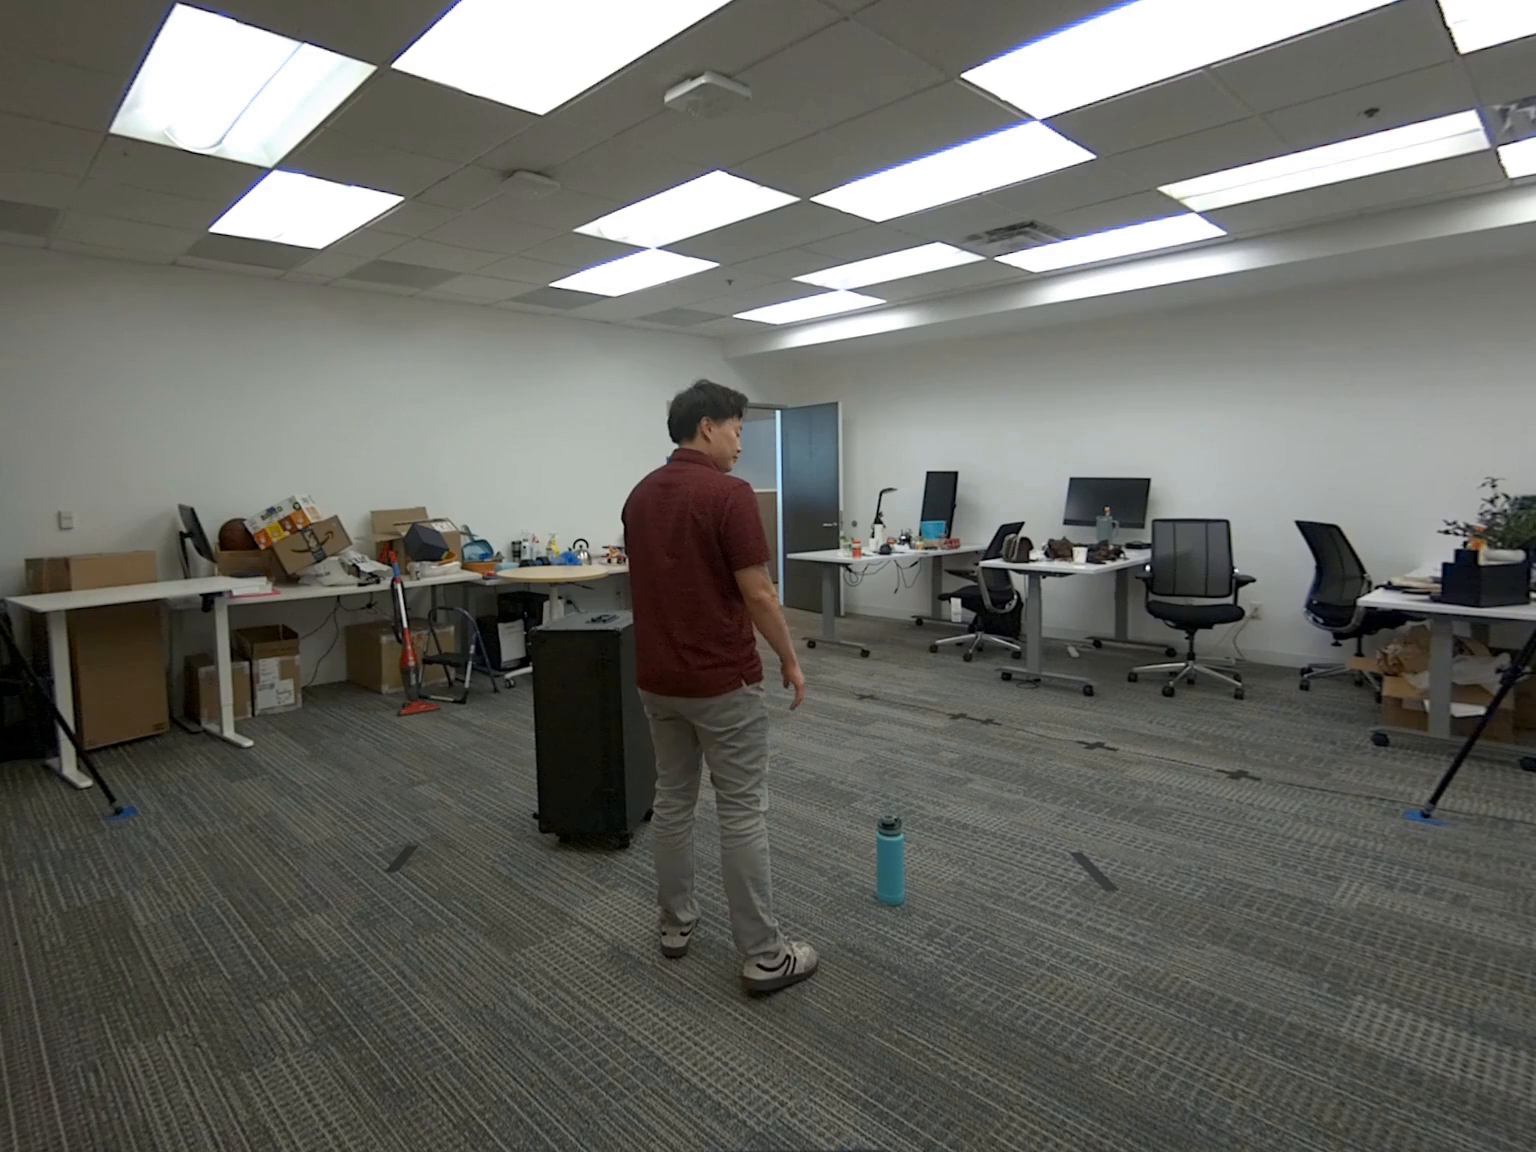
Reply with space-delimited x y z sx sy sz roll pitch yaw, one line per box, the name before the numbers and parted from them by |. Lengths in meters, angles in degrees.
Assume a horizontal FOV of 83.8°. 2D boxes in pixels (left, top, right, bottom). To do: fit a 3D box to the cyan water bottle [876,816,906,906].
cyan water bottle | 0.411 0.930 2.815 0.092 0.283 0.092 -2 2 -2
